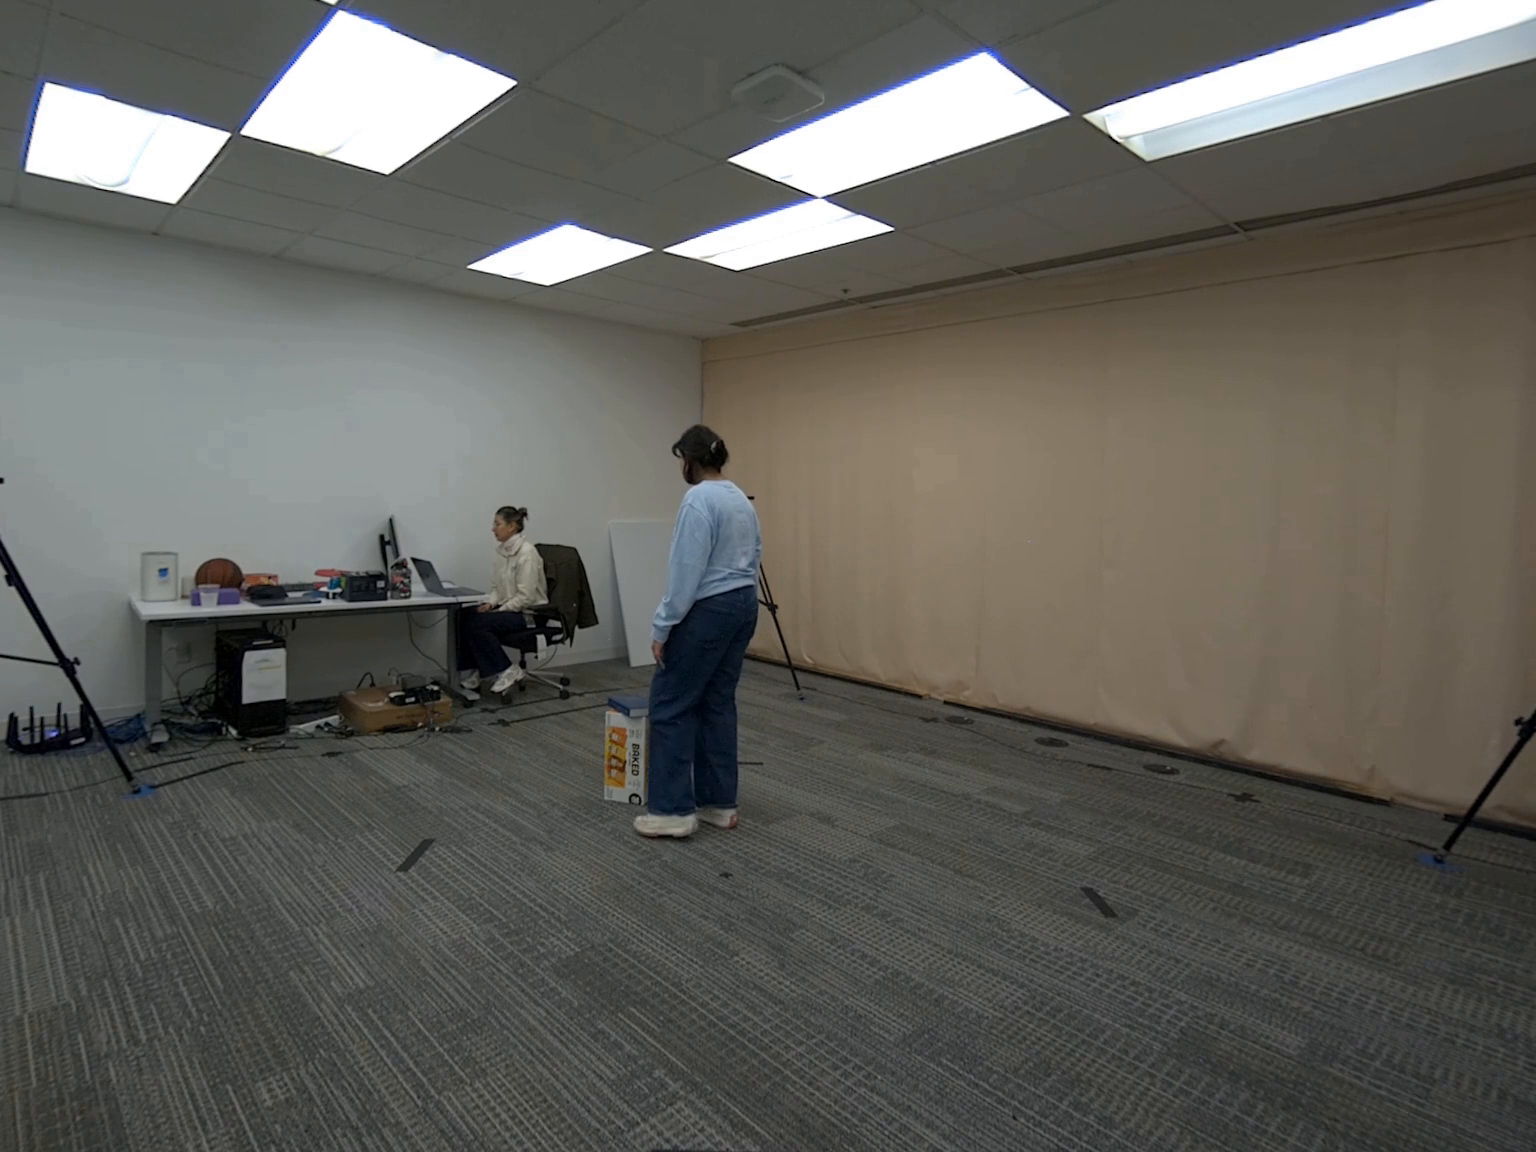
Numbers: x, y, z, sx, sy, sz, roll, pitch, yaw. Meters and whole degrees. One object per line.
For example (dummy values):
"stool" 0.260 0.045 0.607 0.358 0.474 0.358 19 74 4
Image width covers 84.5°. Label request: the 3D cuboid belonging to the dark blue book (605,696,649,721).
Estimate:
"dark blue book" -0.627 0.603 3.885 0.160 0.045 0.251 0 5 -31
